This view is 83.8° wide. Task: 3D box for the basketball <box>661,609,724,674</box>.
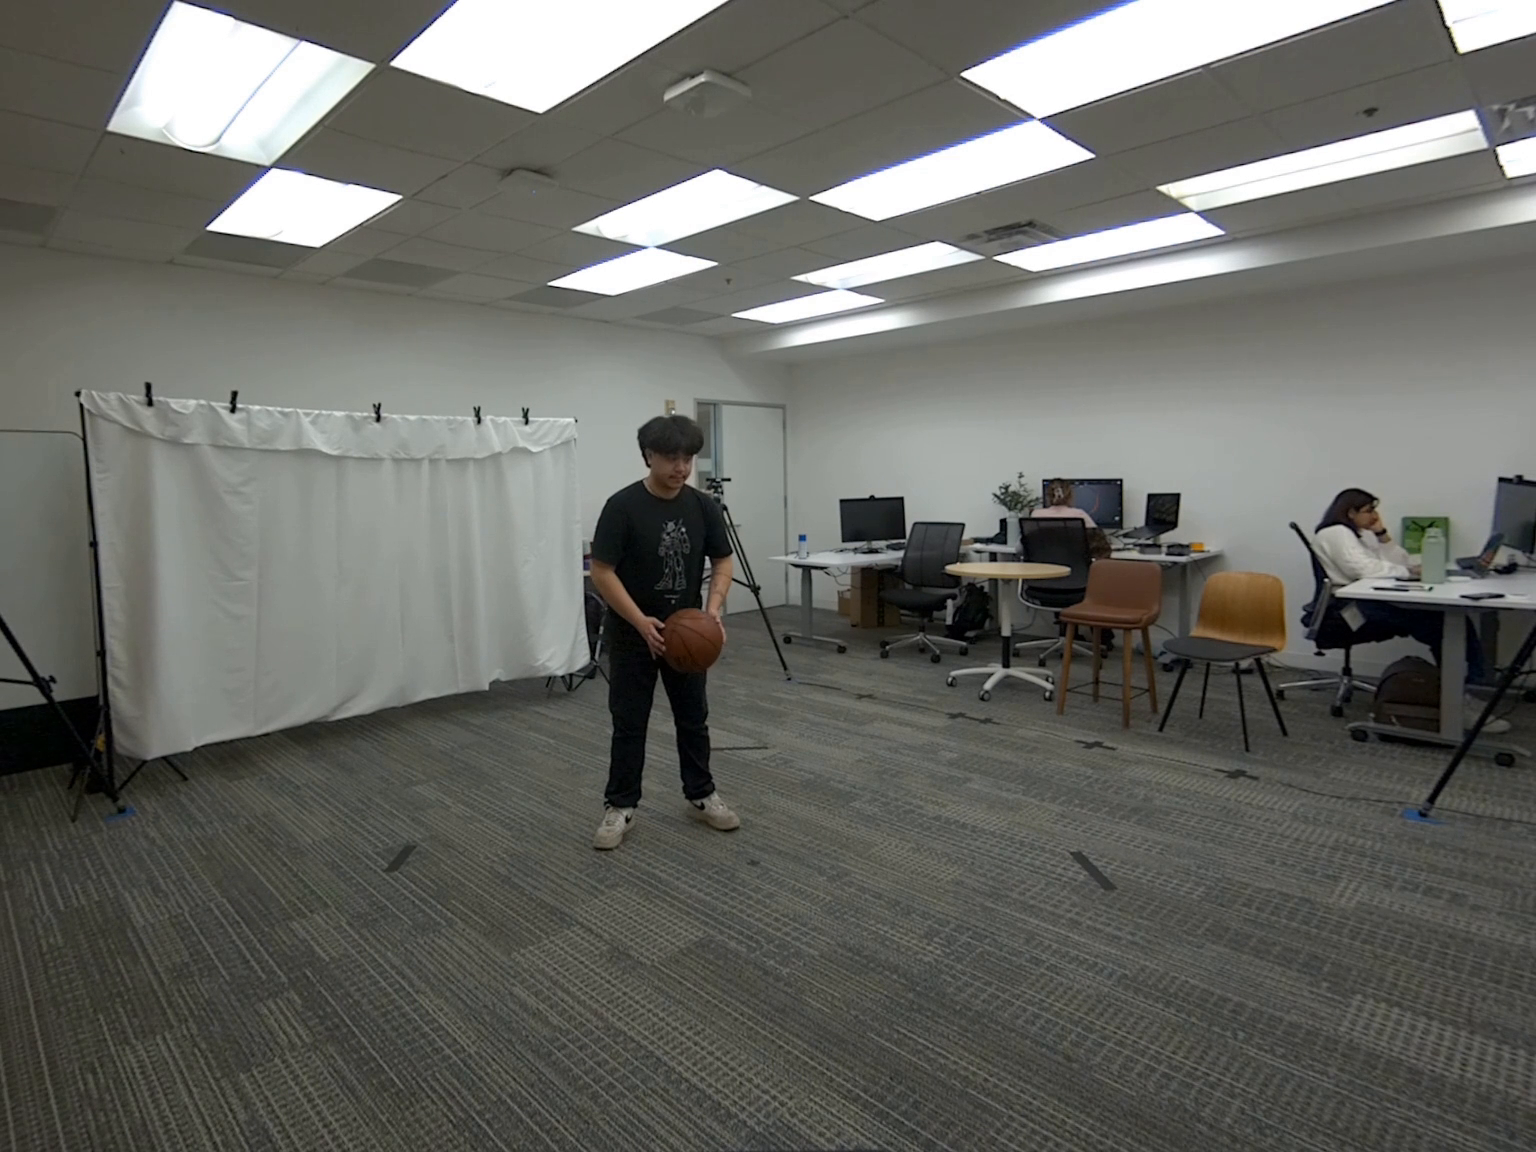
[{"bbox_3d":[-0.295,0.247,3.166,0.236,0.235,0.237,-1,5,-2],"label":"basketball"}]
